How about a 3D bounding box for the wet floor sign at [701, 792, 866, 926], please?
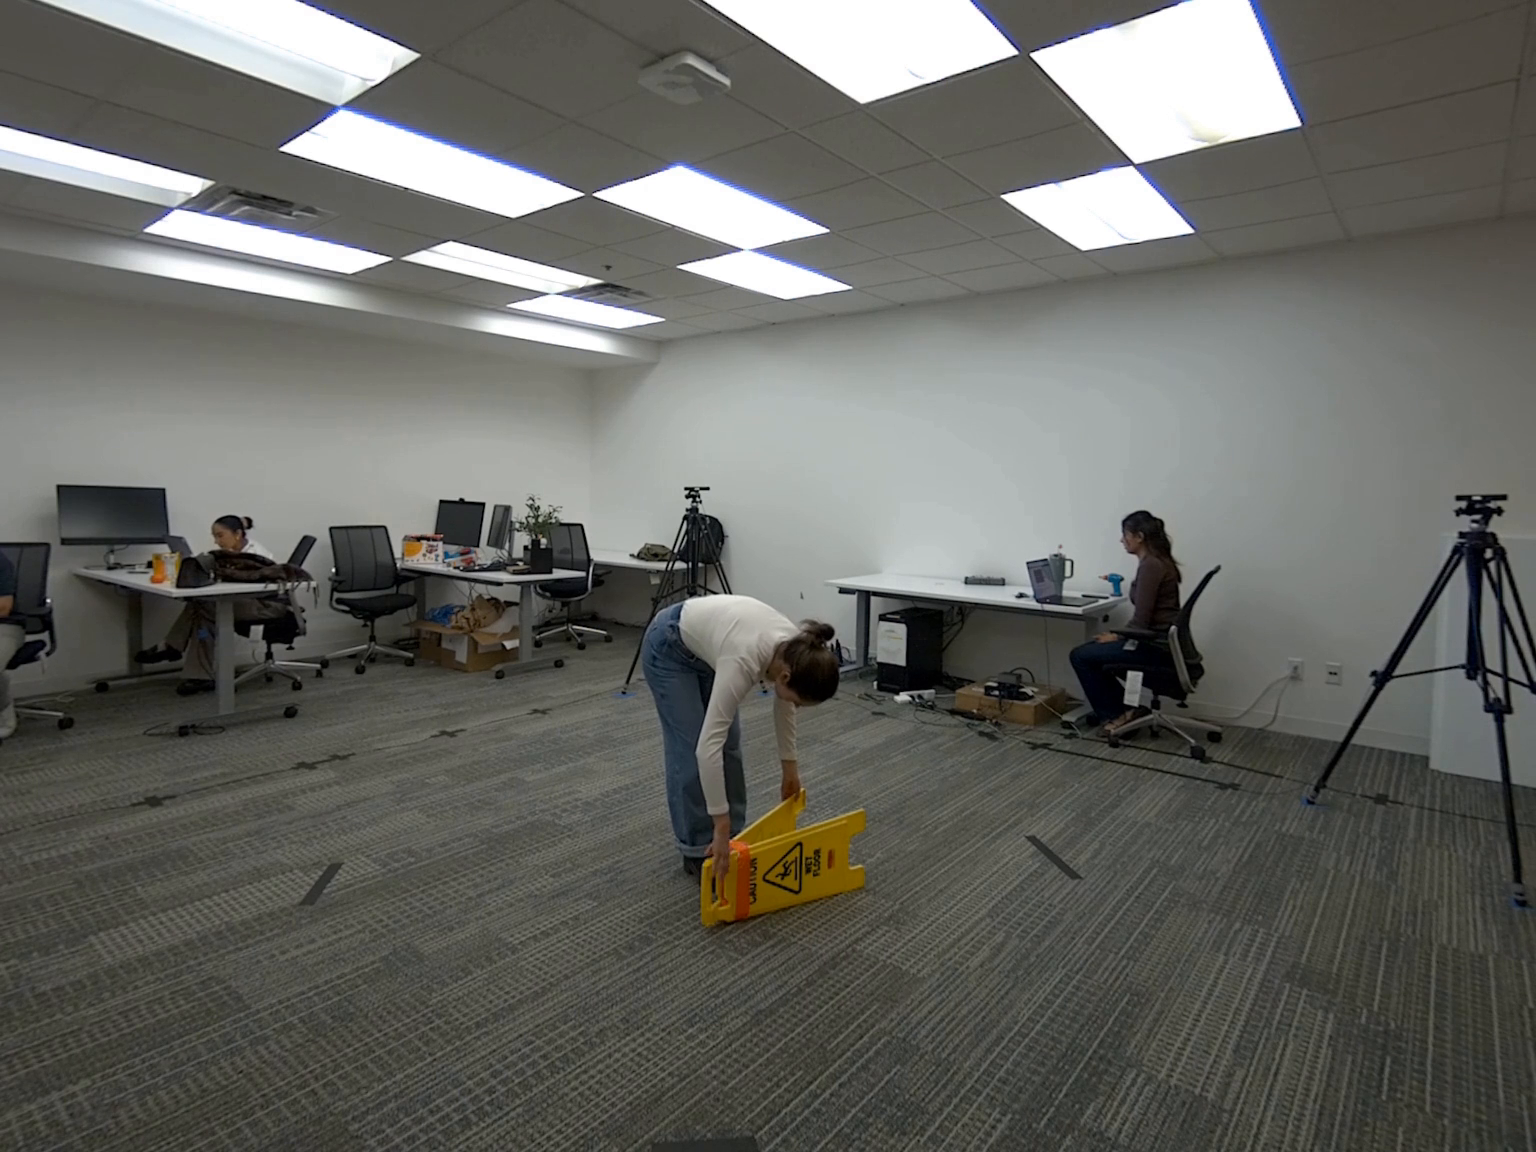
[{"bbox_3d":[0.008,0.963,2.868,0.627,0.281,0.300,-6,8,-44],"label":"wet floor sign"}]
